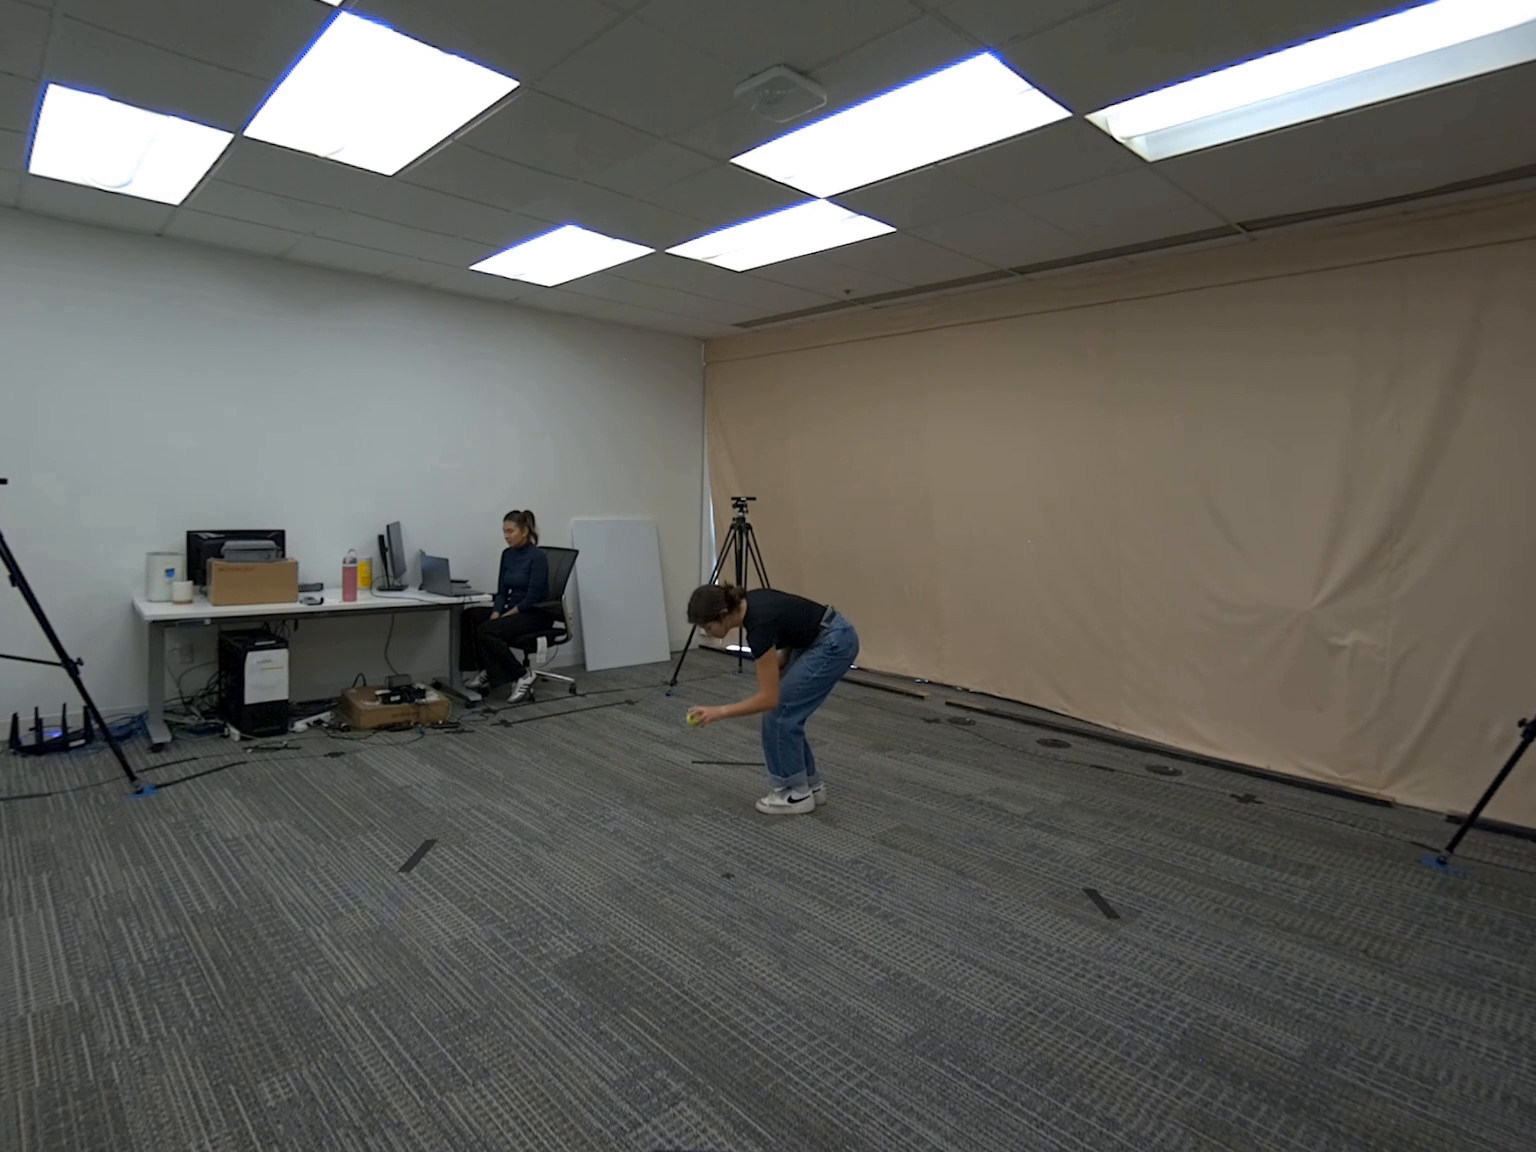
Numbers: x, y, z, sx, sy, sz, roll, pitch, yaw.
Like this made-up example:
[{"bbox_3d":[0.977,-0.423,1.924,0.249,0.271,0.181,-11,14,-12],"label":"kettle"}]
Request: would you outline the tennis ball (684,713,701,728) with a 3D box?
[{"bbox_3d":[-0.301,0.624,3.547,0.066,0.066,0.067,1,4,-1],"label":"tennis ball"}]
